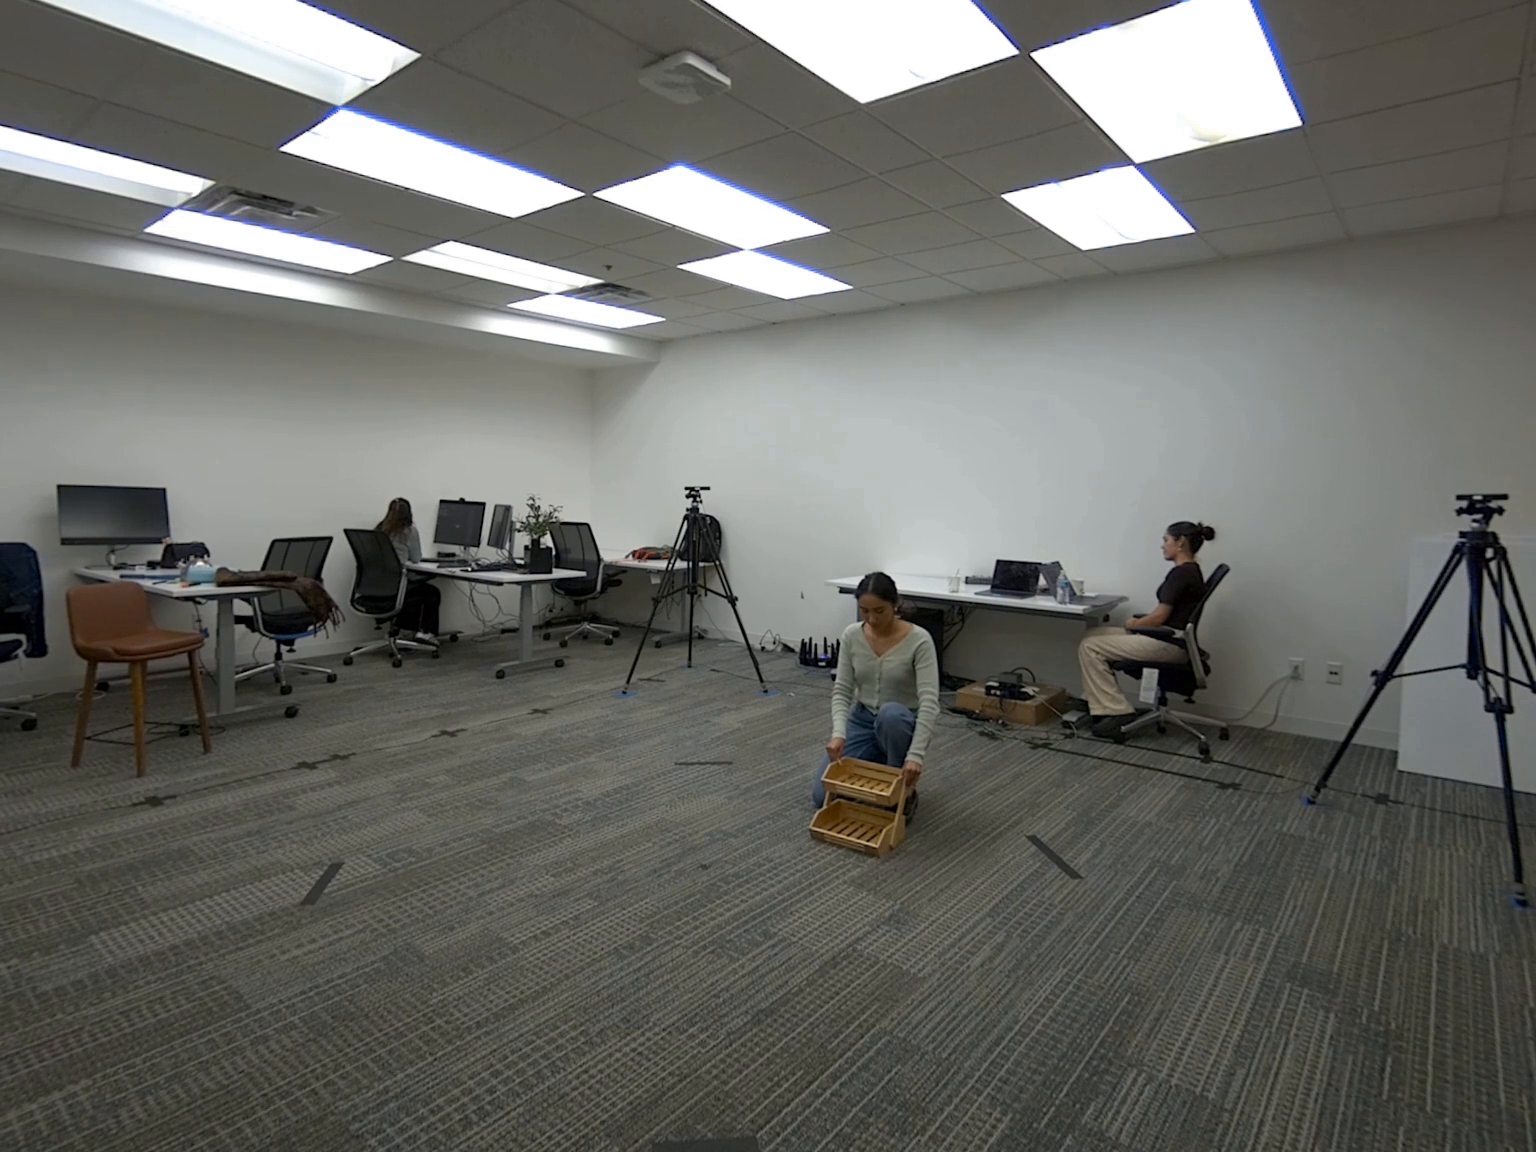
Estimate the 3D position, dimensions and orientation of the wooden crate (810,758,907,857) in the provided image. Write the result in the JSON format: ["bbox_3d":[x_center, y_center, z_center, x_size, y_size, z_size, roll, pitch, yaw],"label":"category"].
[{"bbox_3d":[0.365,0.908,3.408,0.335,0.272,0.293,5,5,34],"label":"wooden crate"}]
